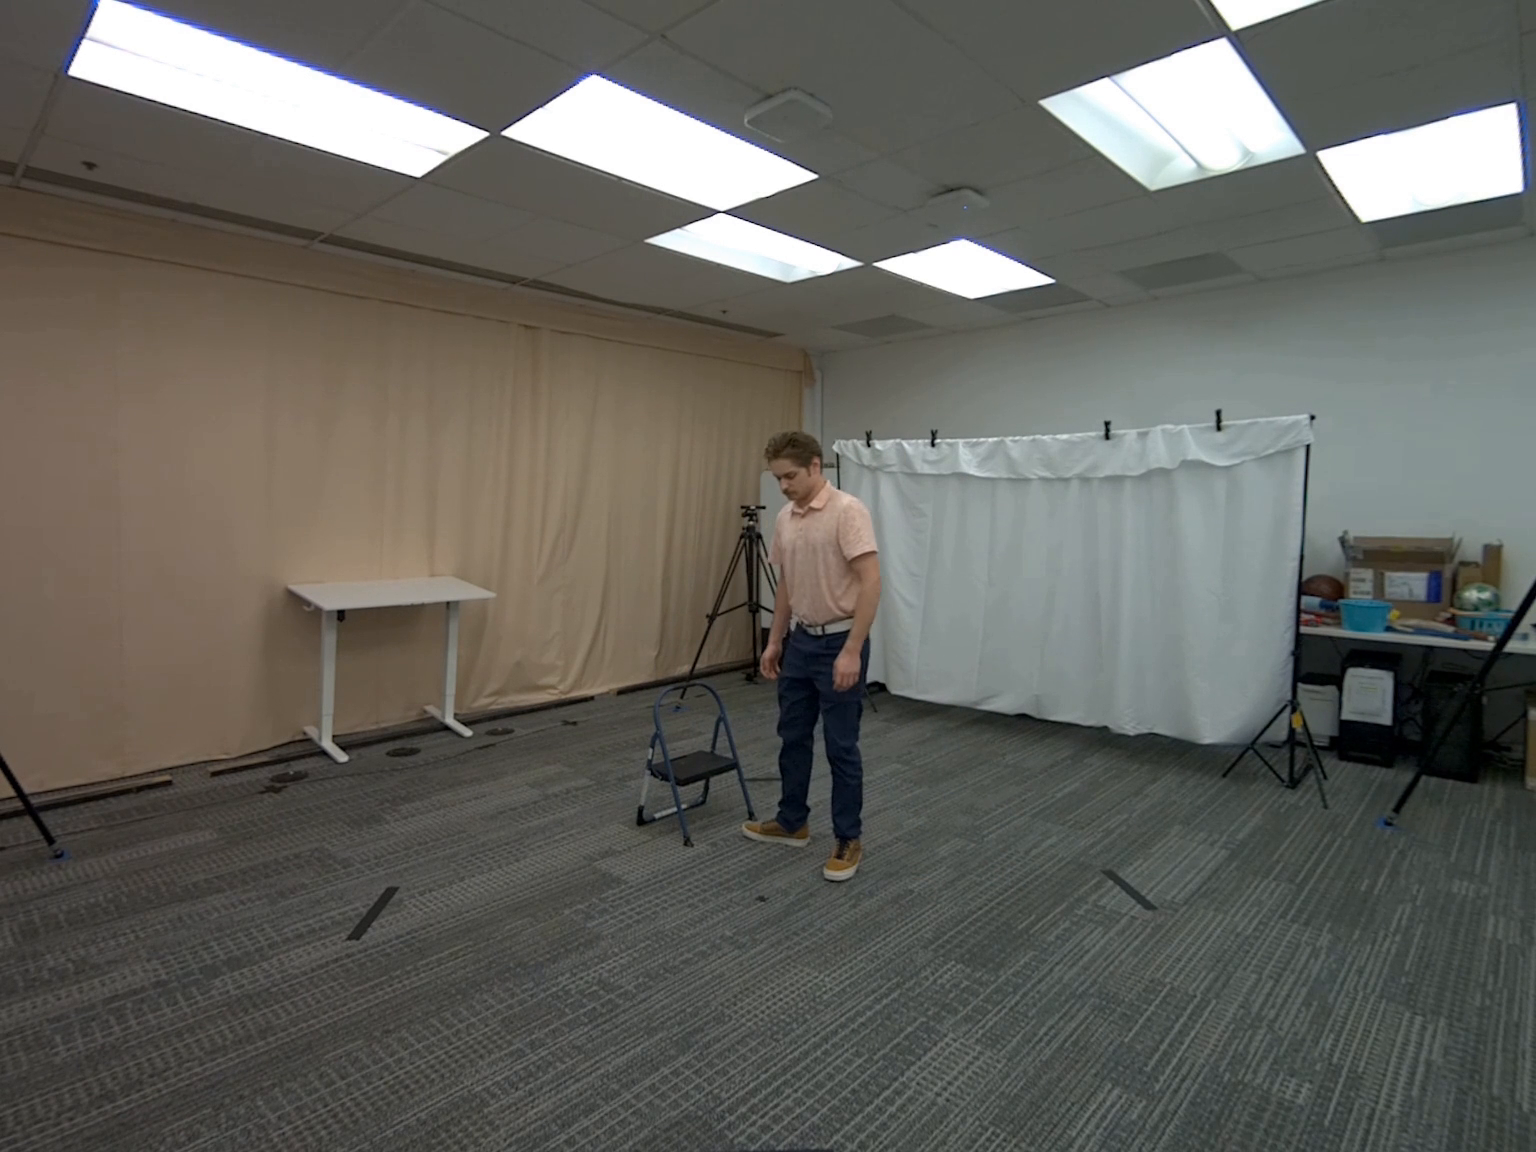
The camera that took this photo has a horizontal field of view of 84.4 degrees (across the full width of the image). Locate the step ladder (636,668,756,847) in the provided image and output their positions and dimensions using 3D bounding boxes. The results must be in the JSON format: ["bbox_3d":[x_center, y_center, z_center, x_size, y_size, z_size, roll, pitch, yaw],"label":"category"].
[{"bbox_3d":[-0.317,0.785,3.698,0.361,0.605,0.417,2,3,42],"label":"step ladder"}]
